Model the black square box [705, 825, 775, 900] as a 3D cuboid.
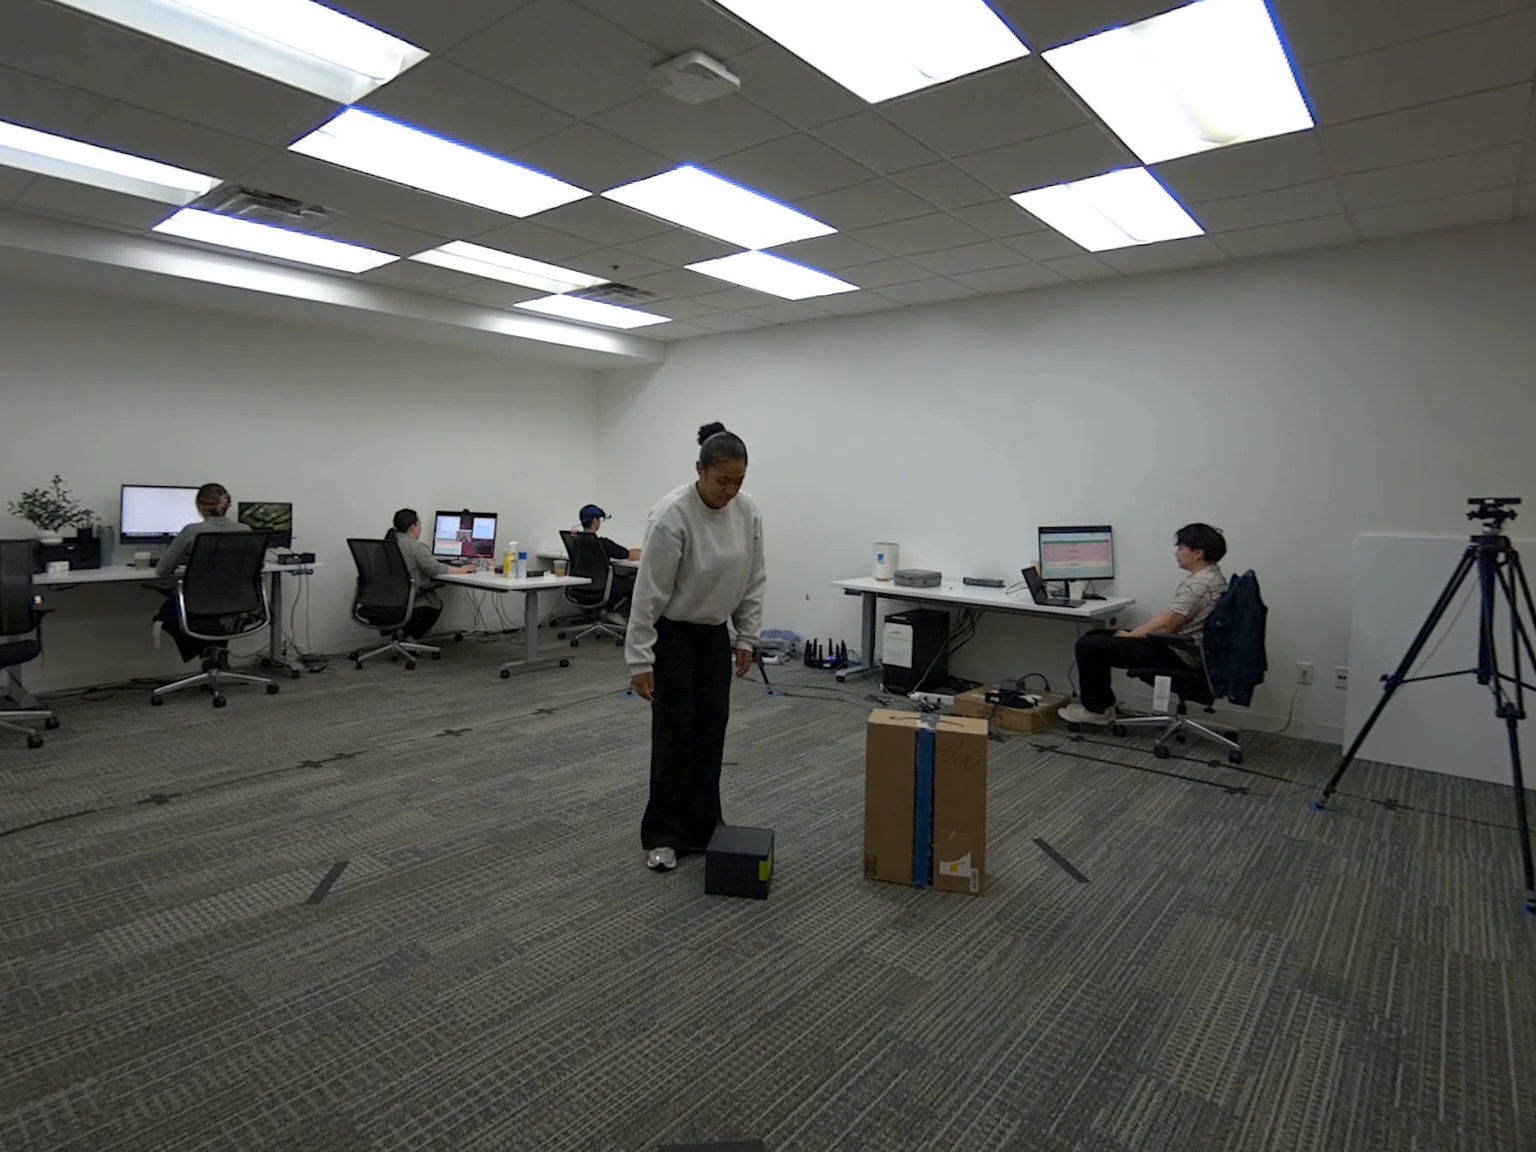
[{"bbox_3d":[-0.108,0.990,3.000,0.219,0.155,0.227,-1,5,7],"label":"black square box"}]
